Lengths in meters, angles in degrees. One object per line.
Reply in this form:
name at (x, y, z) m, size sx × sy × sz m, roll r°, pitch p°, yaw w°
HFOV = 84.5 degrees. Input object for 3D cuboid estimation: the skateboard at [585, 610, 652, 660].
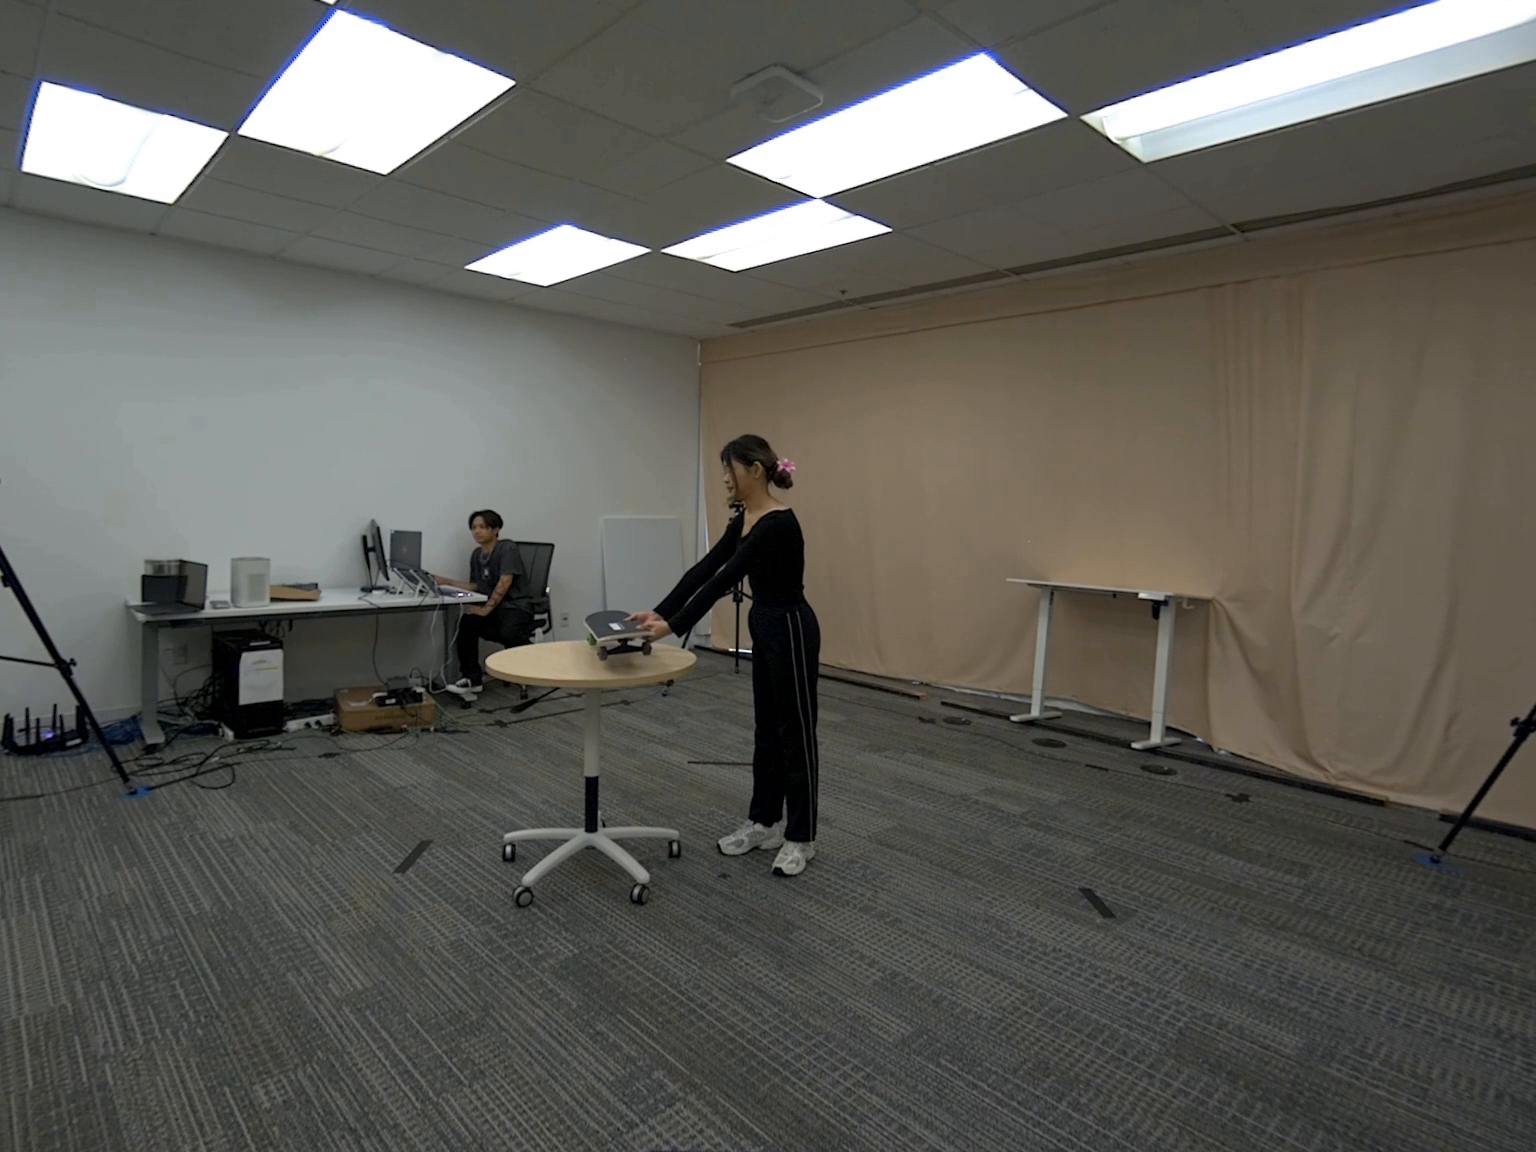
skateboard at (-0.572, 0.223, 3.111) m, size 0.191 × 0.110 × 0.795 m, roll -7°, pitch 5°, yaw -14°
